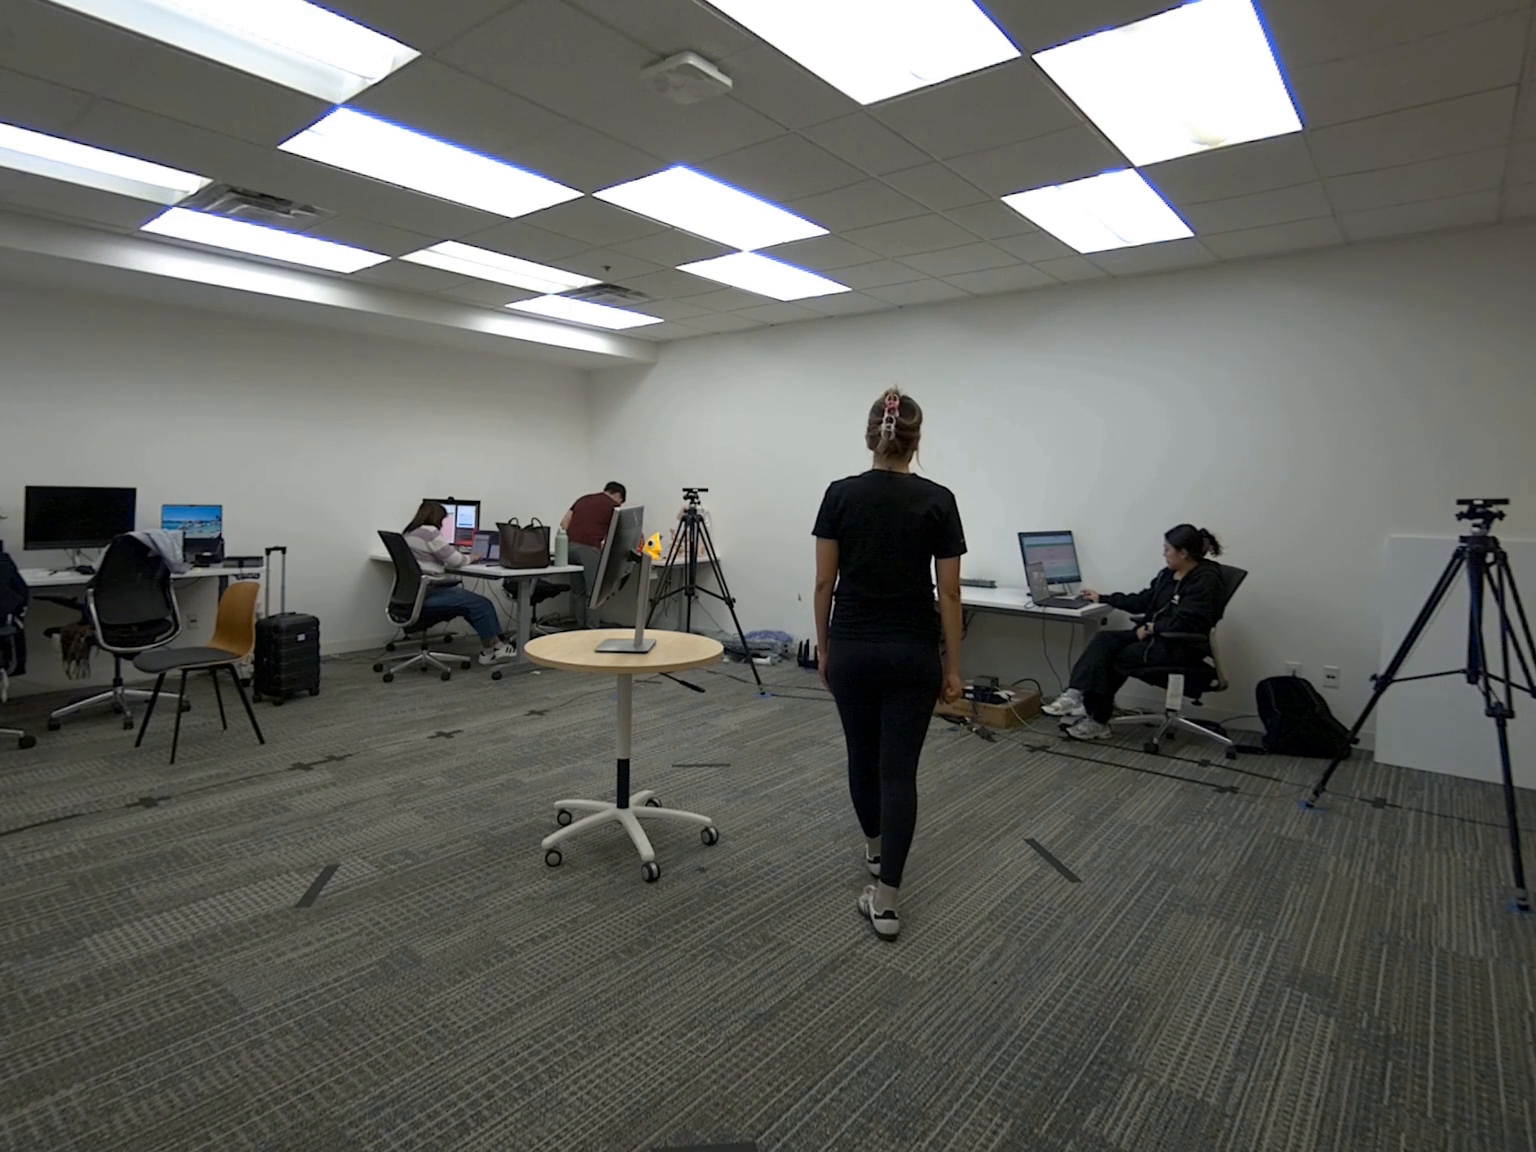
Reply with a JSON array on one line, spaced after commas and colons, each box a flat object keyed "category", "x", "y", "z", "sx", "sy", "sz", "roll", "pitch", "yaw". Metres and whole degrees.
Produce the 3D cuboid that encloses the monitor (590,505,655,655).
[{"category": "monitor", "x": -0.546, "y": 0.008, "z": 3.246, "sx": 0.187, "sy": 0.520, "sz": 0.541, "roll": 1, "pitch": 5, "yaw": -1}]
